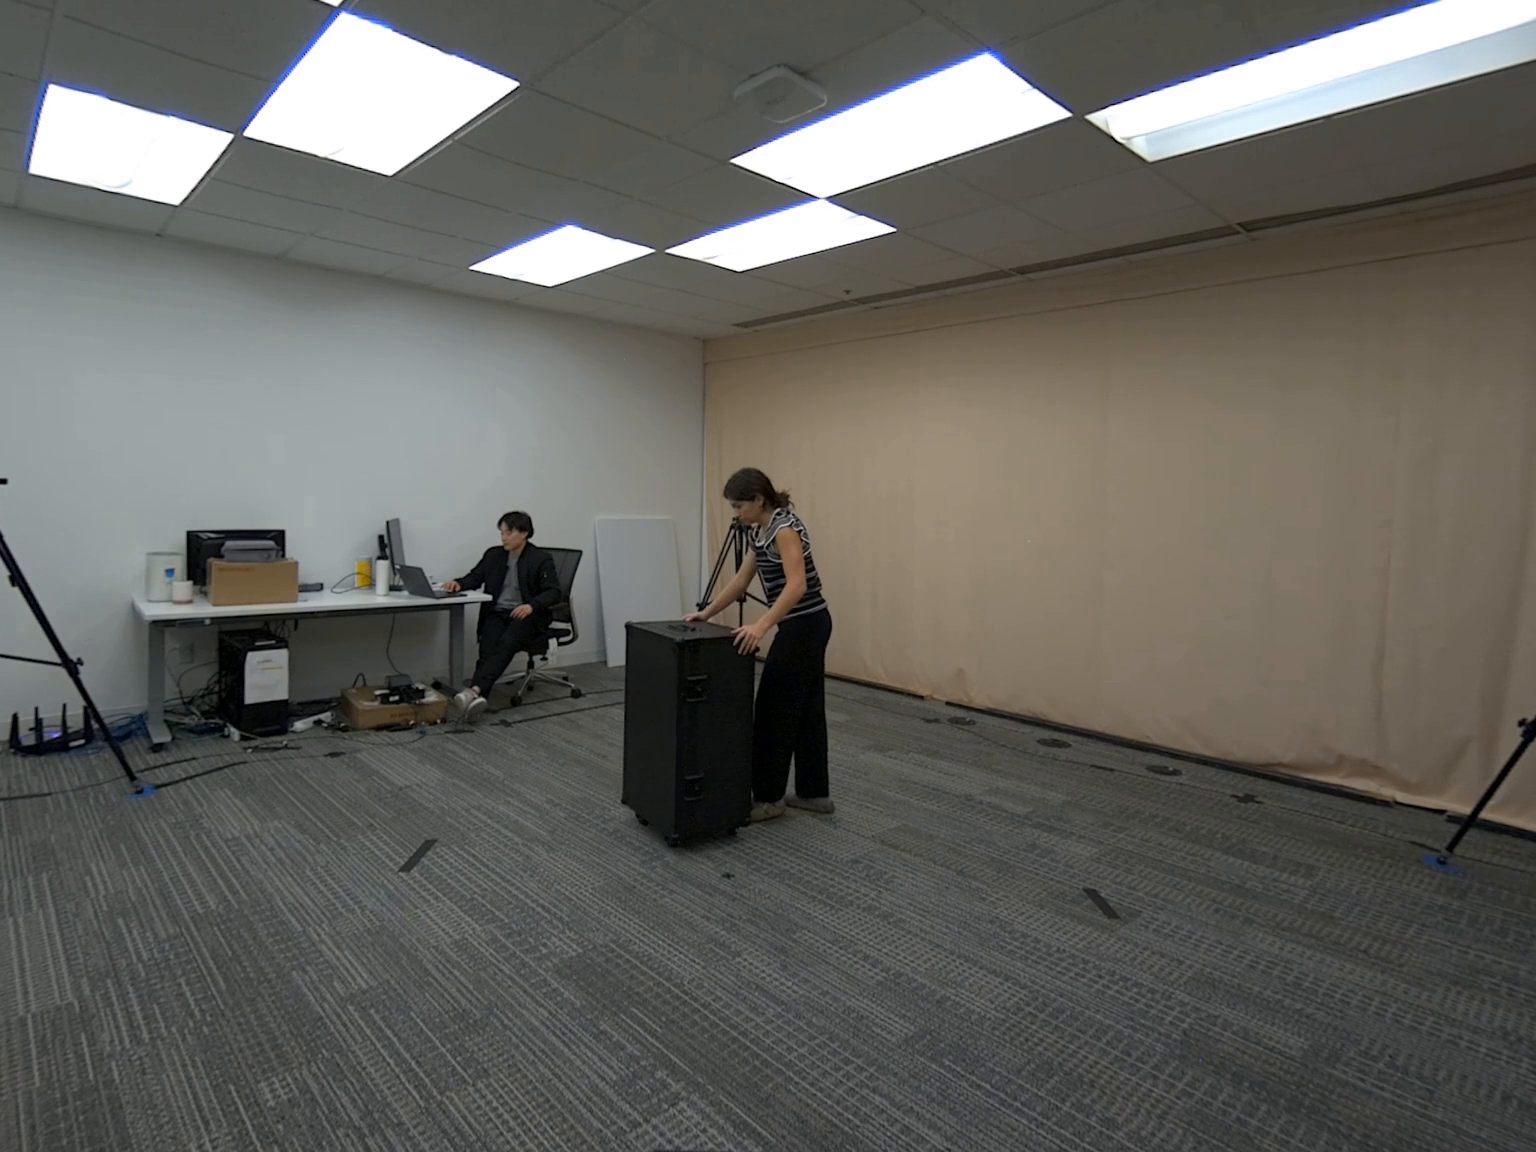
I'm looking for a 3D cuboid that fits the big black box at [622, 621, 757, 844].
[{"bbox_3d":[-0.348,0.642,3.507,0.387,0.860,0.534,1,3,-34],"label":"big black box"}]
